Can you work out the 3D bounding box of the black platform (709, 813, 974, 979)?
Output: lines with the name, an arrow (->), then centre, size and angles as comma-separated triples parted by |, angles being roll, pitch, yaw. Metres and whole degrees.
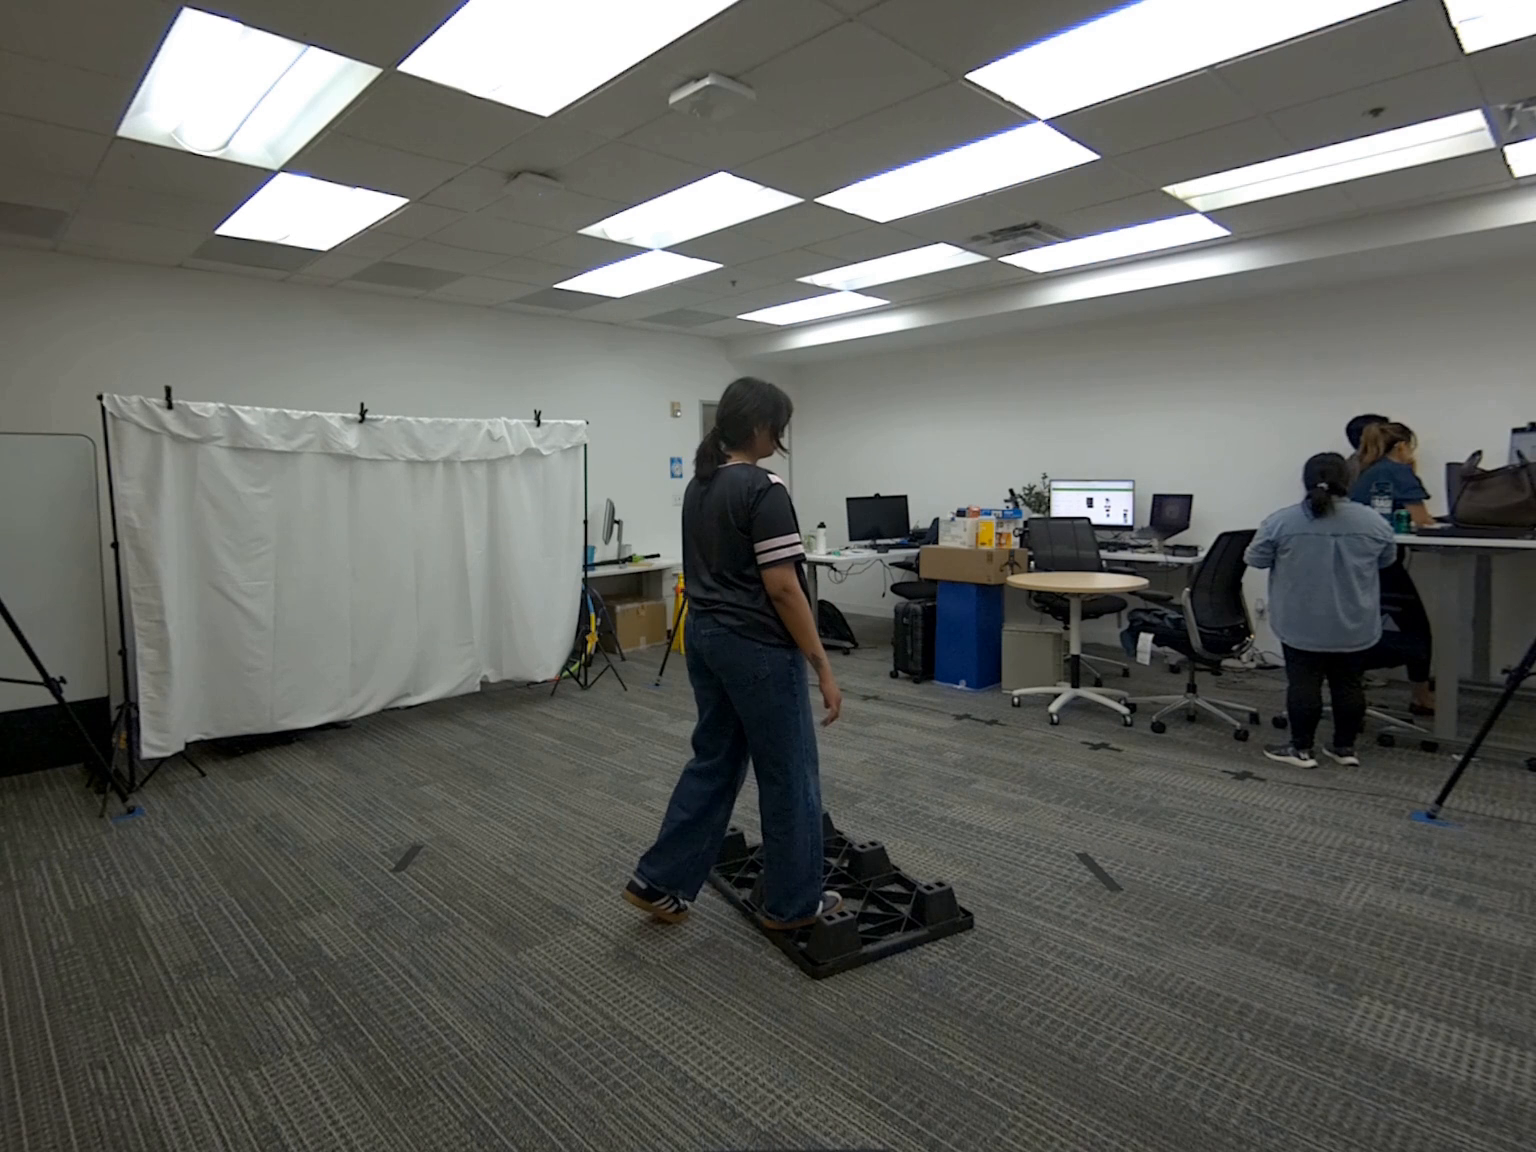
black platform -> 0.185, 1.006, 2.863 | 0.591, 0.143, 0.828 | -4, 7, -29
